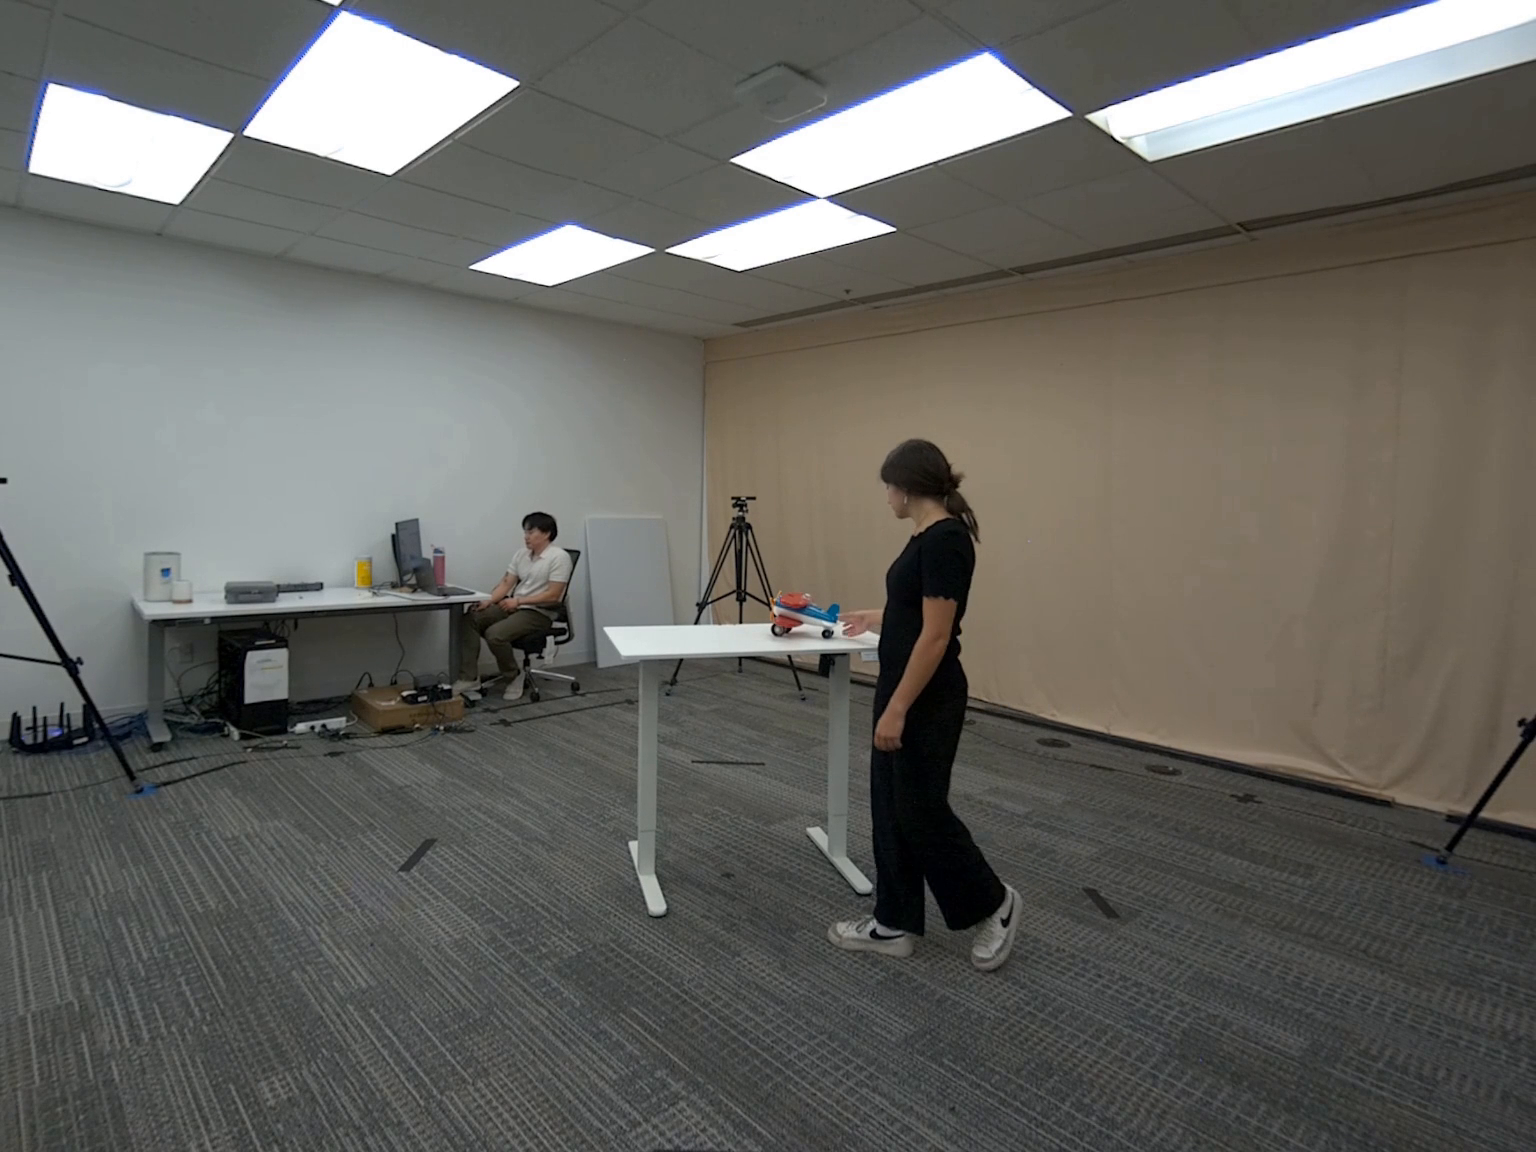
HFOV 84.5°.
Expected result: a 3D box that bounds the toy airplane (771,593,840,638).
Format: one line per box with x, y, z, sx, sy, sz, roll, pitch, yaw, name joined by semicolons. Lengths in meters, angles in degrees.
0.129;0.147;3.148;0.257;0.156;0.254;-1;6;-9;toy airplane
